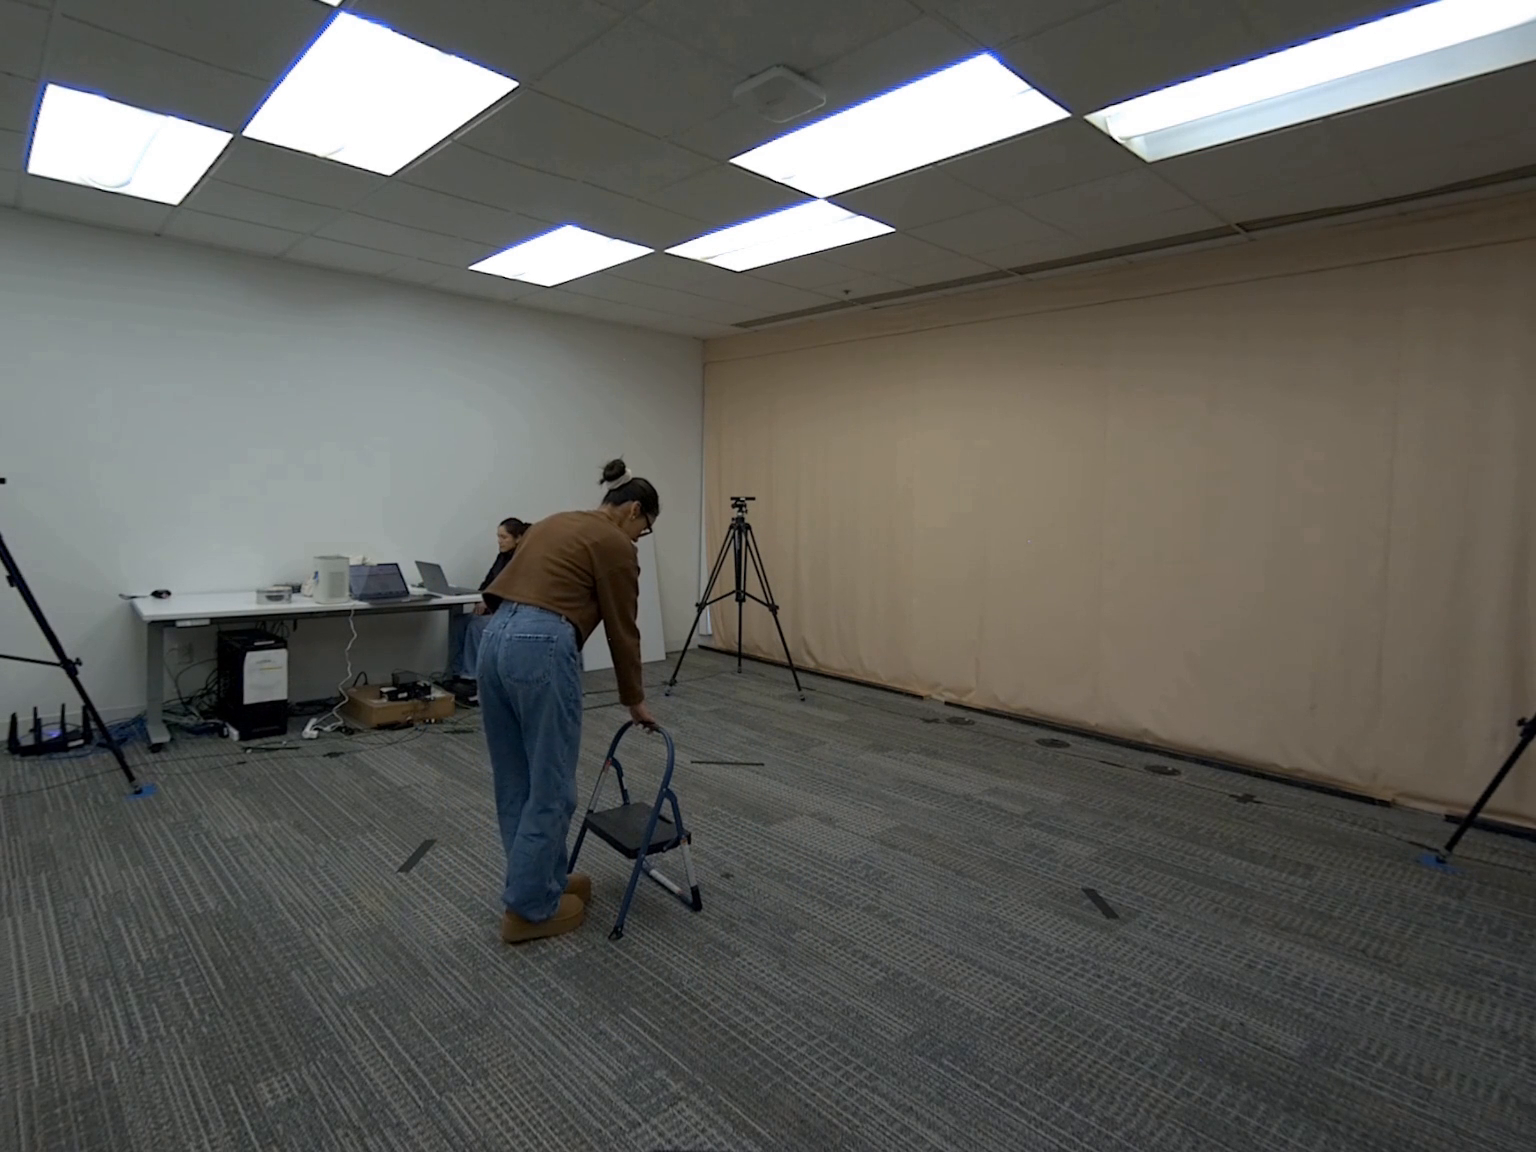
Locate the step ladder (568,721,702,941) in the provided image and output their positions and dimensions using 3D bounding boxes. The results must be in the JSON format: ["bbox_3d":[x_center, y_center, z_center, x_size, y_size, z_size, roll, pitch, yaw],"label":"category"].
[{"bbox_3d":[-0.478,0.818,2.887,0.341,0.605,0.441,-1,4,-37],"label":"step ladder"}]
